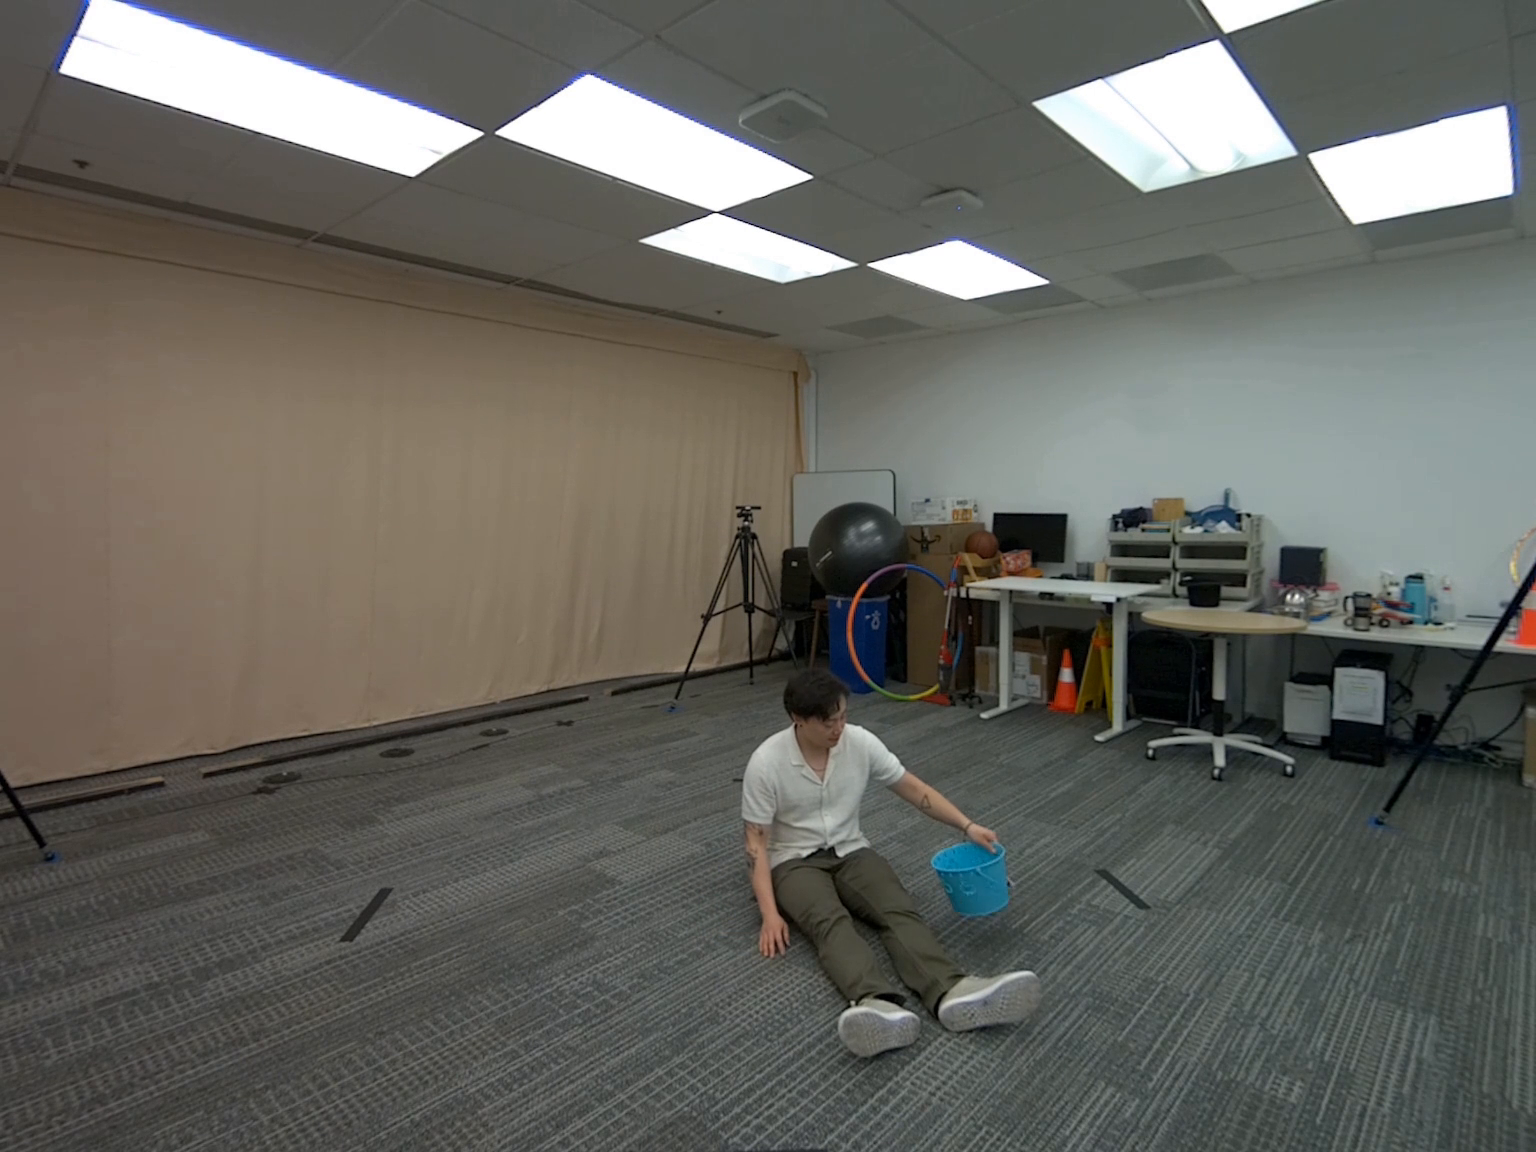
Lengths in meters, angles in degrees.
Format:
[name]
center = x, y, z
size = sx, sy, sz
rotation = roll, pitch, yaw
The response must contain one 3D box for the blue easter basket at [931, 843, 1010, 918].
[blue easter basket]
center = 0.657, 0.970, 2.680
size = 0.243, 0.156, 0.243
rotation = -15, -1, -2
